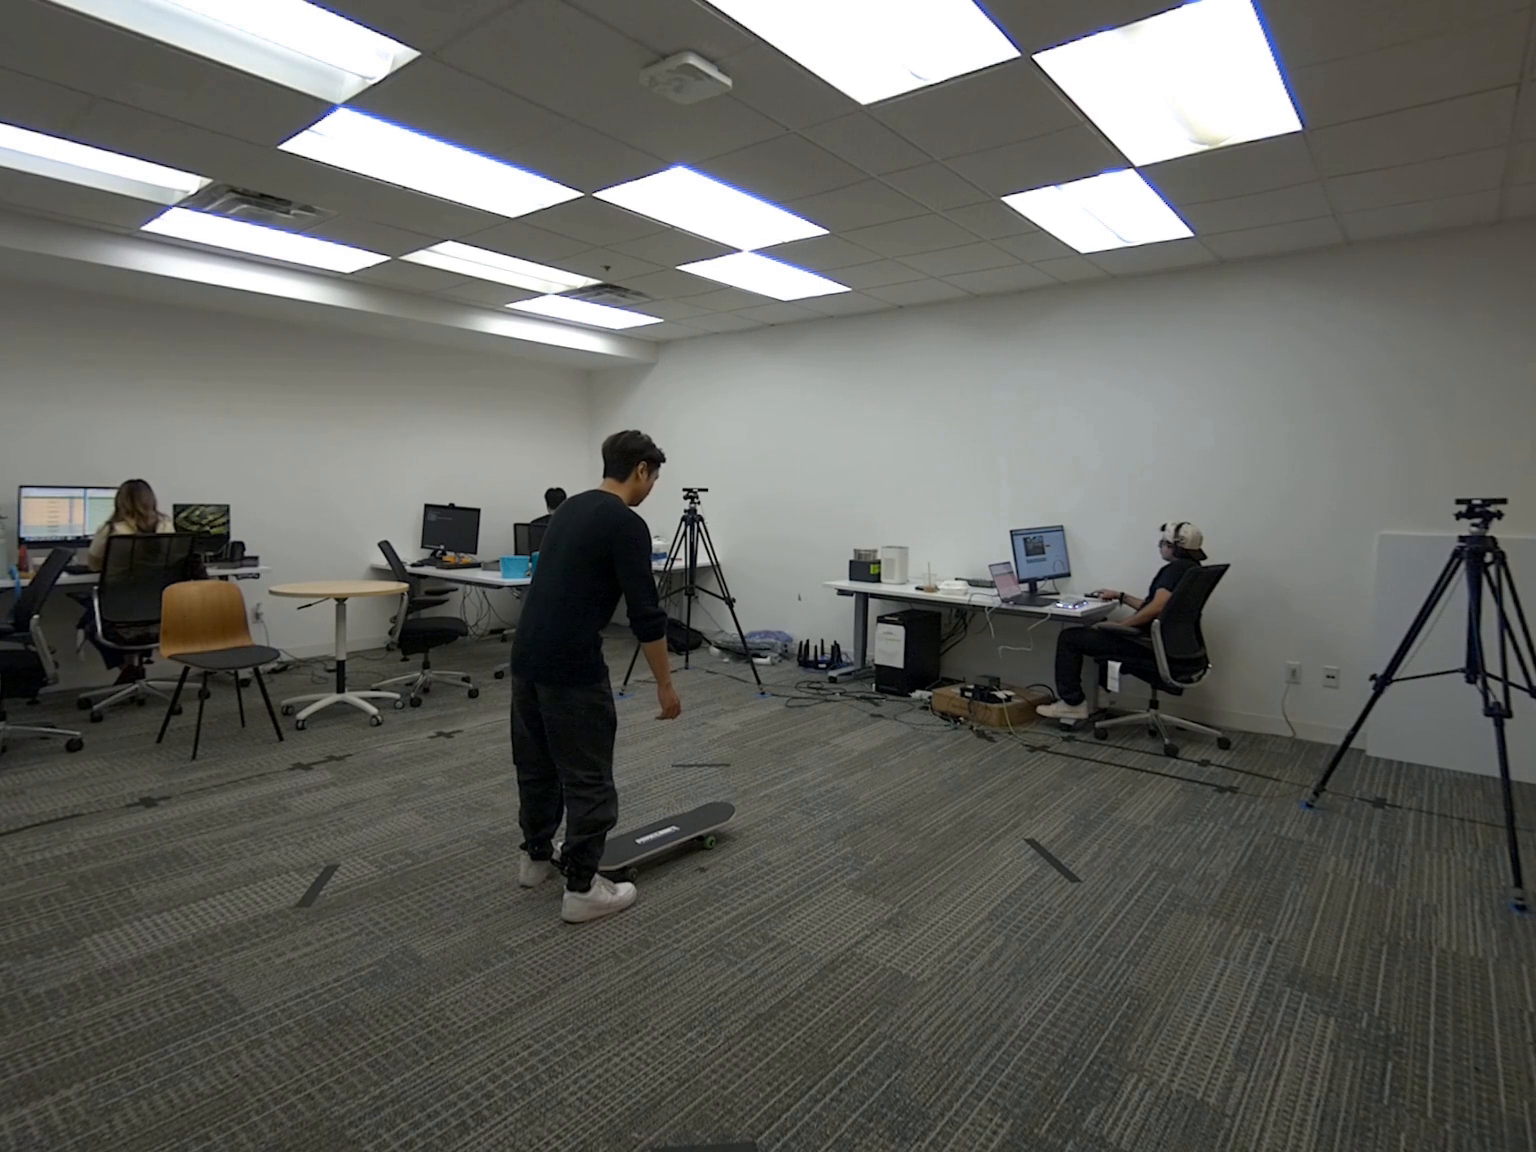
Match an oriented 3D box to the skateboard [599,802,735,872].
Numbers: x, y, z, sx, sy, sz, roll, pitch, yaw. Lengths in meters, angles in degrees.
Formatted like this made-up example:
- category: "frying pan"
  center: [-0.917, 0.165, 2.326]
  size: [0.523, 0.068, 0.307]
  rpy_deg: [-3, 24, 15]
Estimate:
- category: "skateboard"
  center: [-0.419, 1.005, 3.201]
  size: [0.200, 0.110, 0.762]
  rpy_deg: [6, 8, 41]
